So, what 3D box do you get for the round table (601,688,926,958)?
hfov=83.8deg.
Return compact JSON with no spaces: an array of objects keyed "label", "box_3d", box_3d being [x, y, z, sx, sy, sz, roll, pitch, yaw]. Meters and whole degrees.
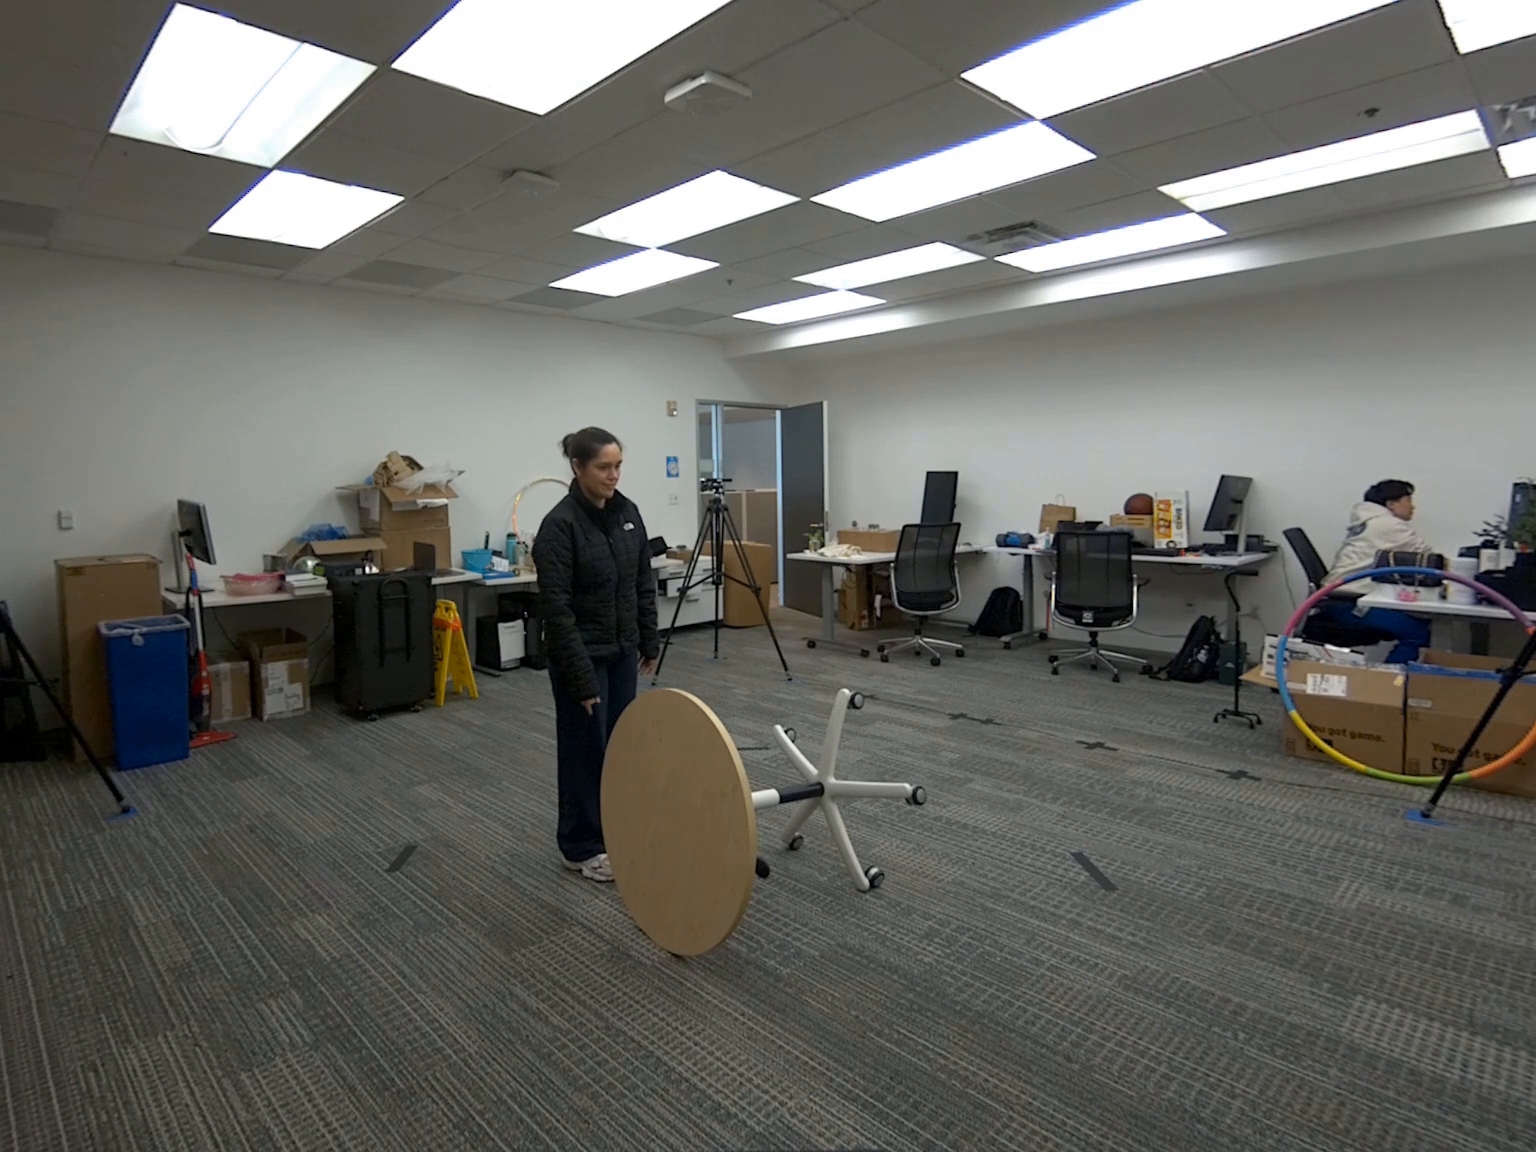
[{"label":"round table","box_3d":[-0.017,0.732,2.842,0.763,0.785,0.809,2,1,-42]}]
